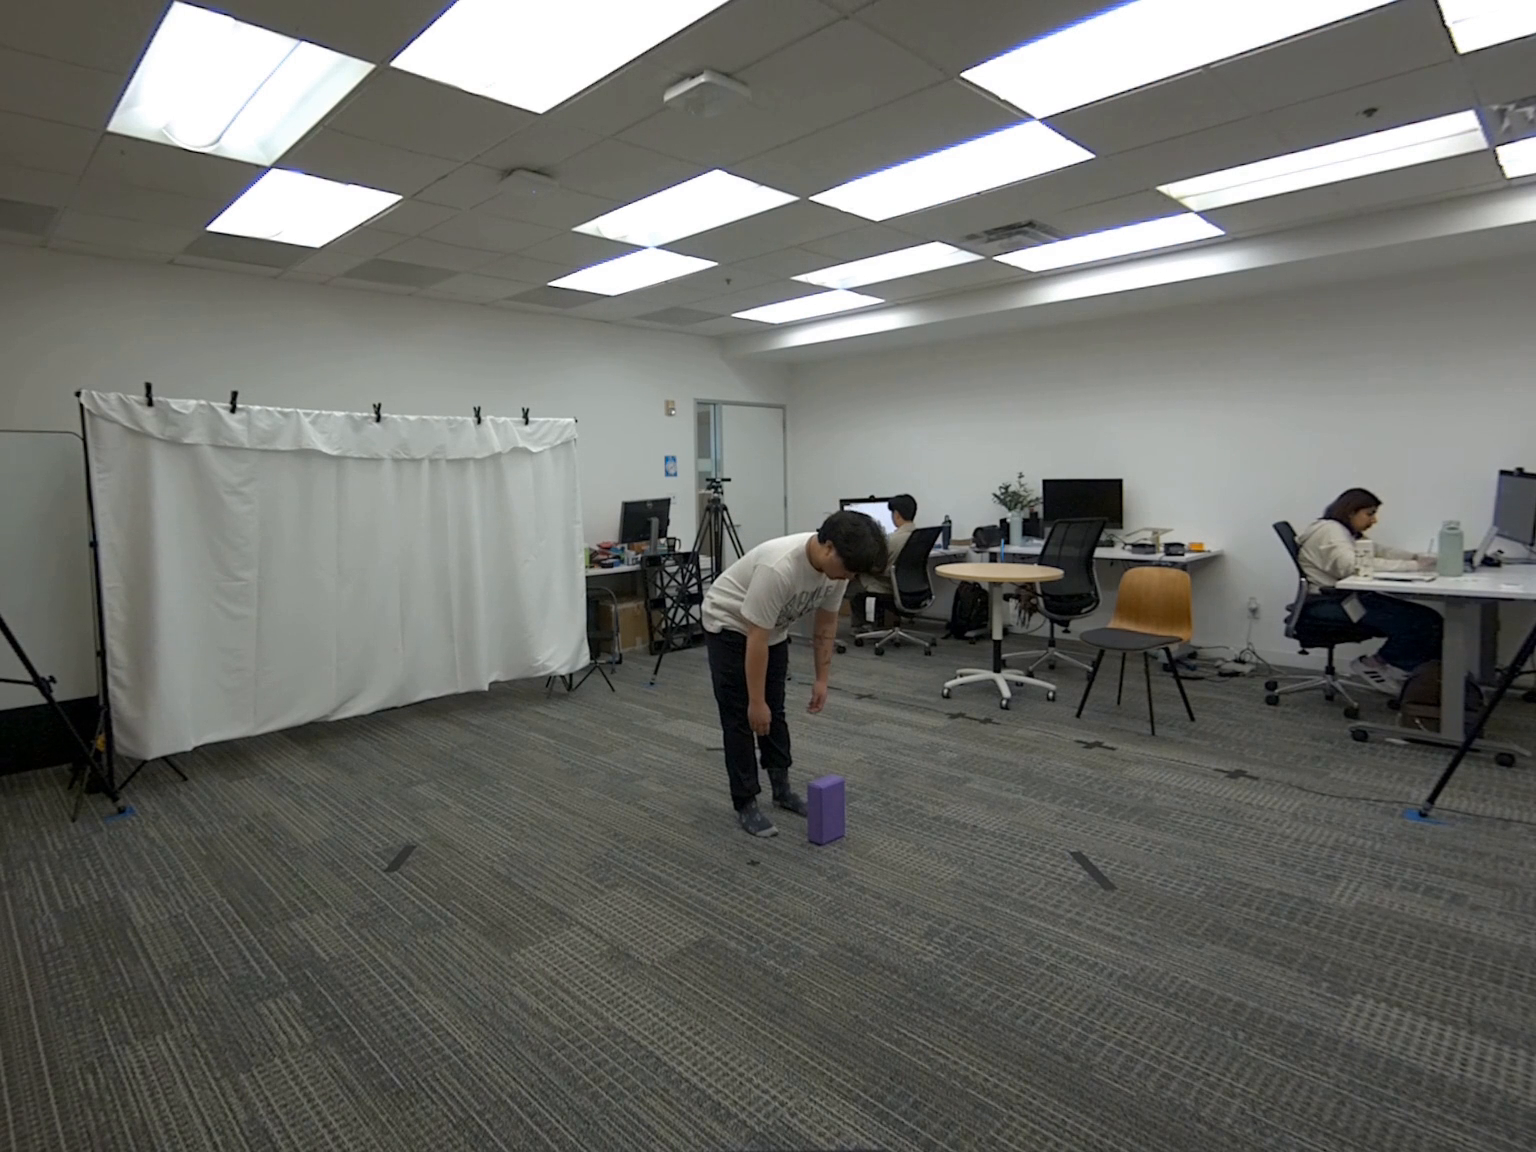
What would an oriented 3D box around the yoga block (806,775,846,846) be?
[{"bbox_3d":[0.228,0.901,3.301,0.145,0.229,0.079,-4,3,-44],"label":"yoga block"}]
